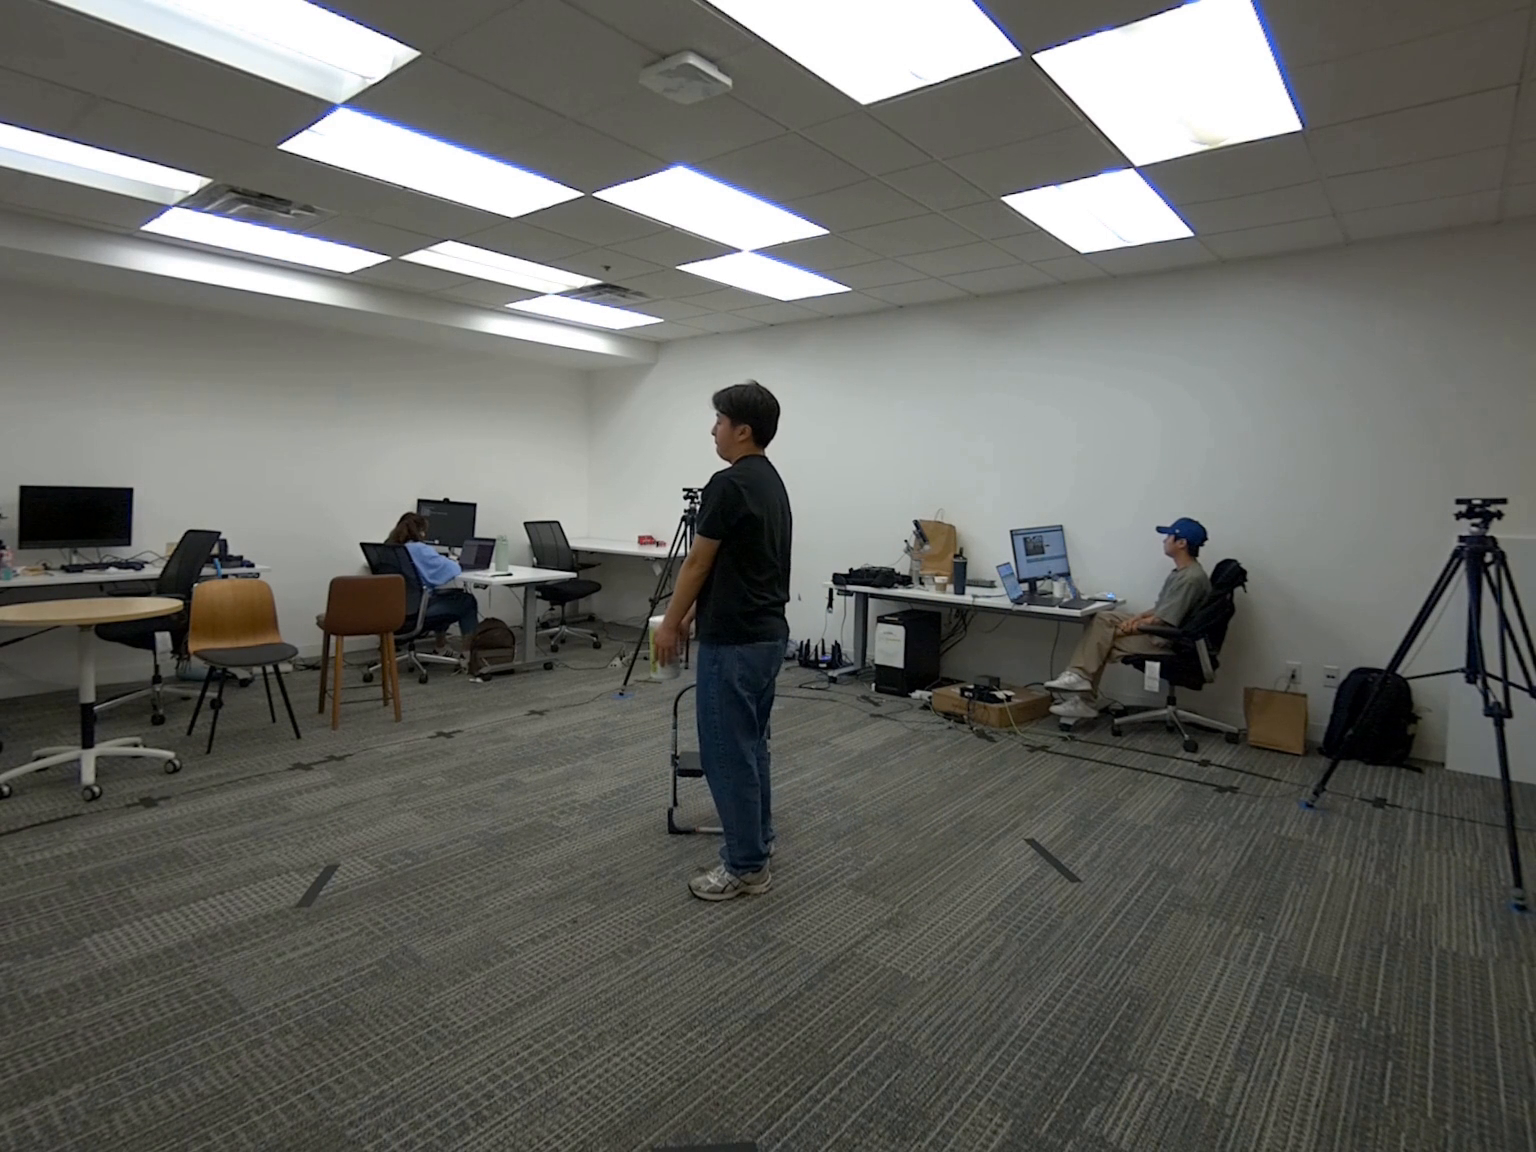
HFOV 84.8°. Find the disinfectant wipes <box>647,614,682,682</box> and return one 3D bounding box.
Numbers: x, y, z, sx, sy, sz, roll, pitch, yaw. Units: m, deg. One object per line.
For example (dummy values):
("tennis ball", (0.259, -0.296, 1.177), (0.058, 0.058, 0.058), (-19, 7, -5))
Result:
("disinfectant wipes", (-0.387, 0.259, 3.066), (0.118, 0.216, 0.118), (-1, 5, -2))
